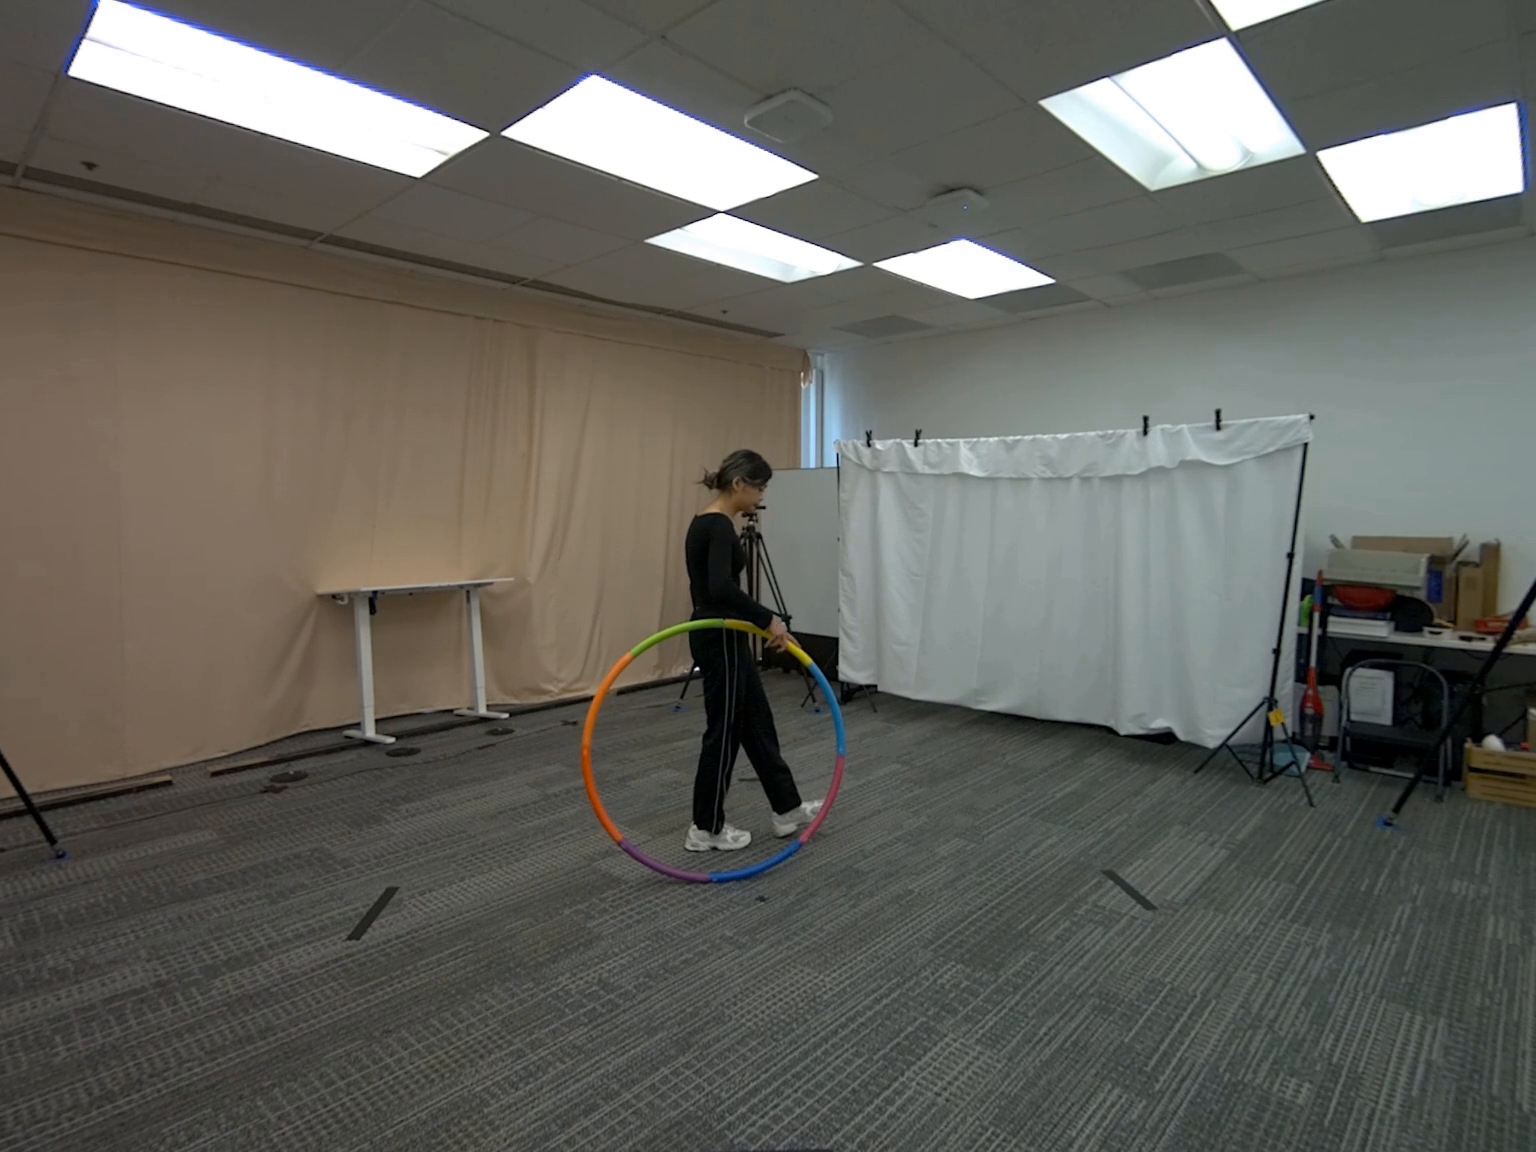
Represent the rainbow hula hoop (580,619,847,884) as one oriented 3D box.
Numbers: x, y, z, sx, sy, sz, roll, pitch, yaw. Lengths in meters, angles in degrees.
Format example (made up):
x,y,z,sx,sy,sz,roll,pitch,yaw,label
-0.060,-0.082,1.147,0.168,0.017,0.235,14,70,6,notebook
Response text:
x,y,z,sx,sy,sz,roll,pitch,yaw,label
-0.198,0.650,3.153,0.970,0.980,0.036,-1,-3,-8,rainbow hula hoop
